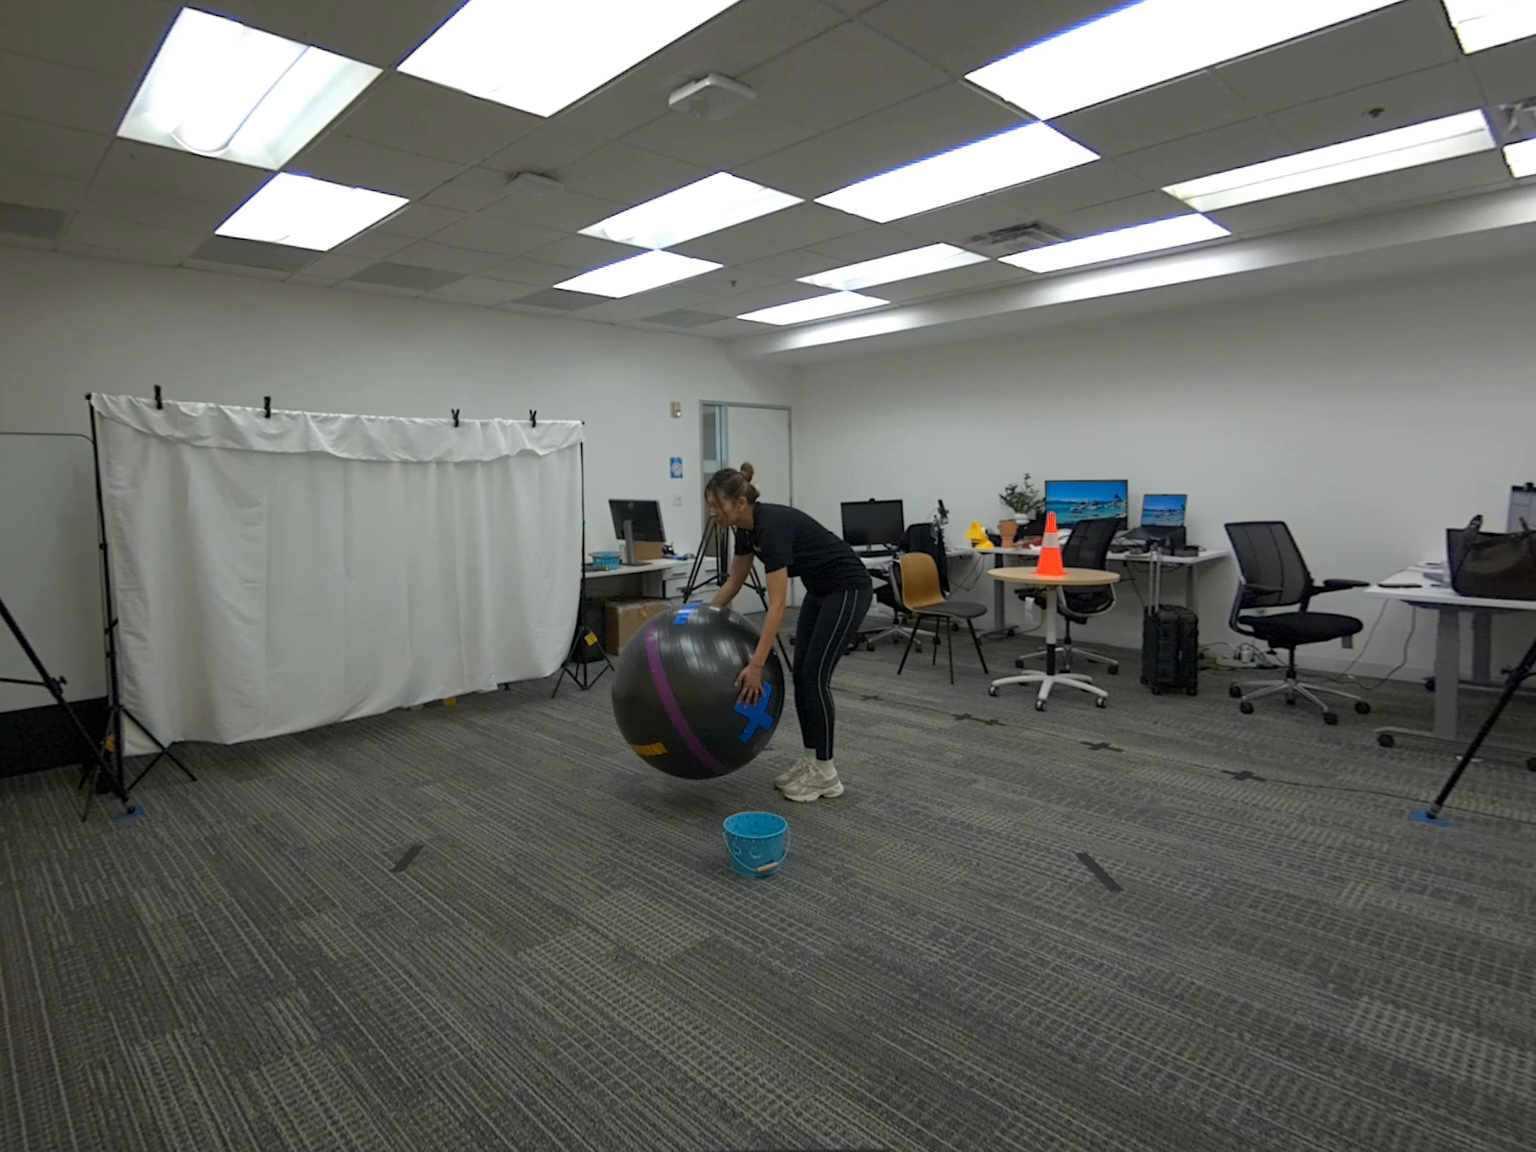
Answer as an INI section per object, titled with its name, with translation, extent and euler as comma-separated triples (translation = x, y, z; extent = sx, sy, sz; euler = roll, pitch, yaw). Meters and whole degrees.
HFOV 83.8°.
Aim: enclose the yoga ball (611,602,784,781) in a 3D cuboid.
[yoga ball]
translation = -0.307, 0.503, 3.735
extent = 0.757, 0.755, 0.762
euler = -1, 5, -2
